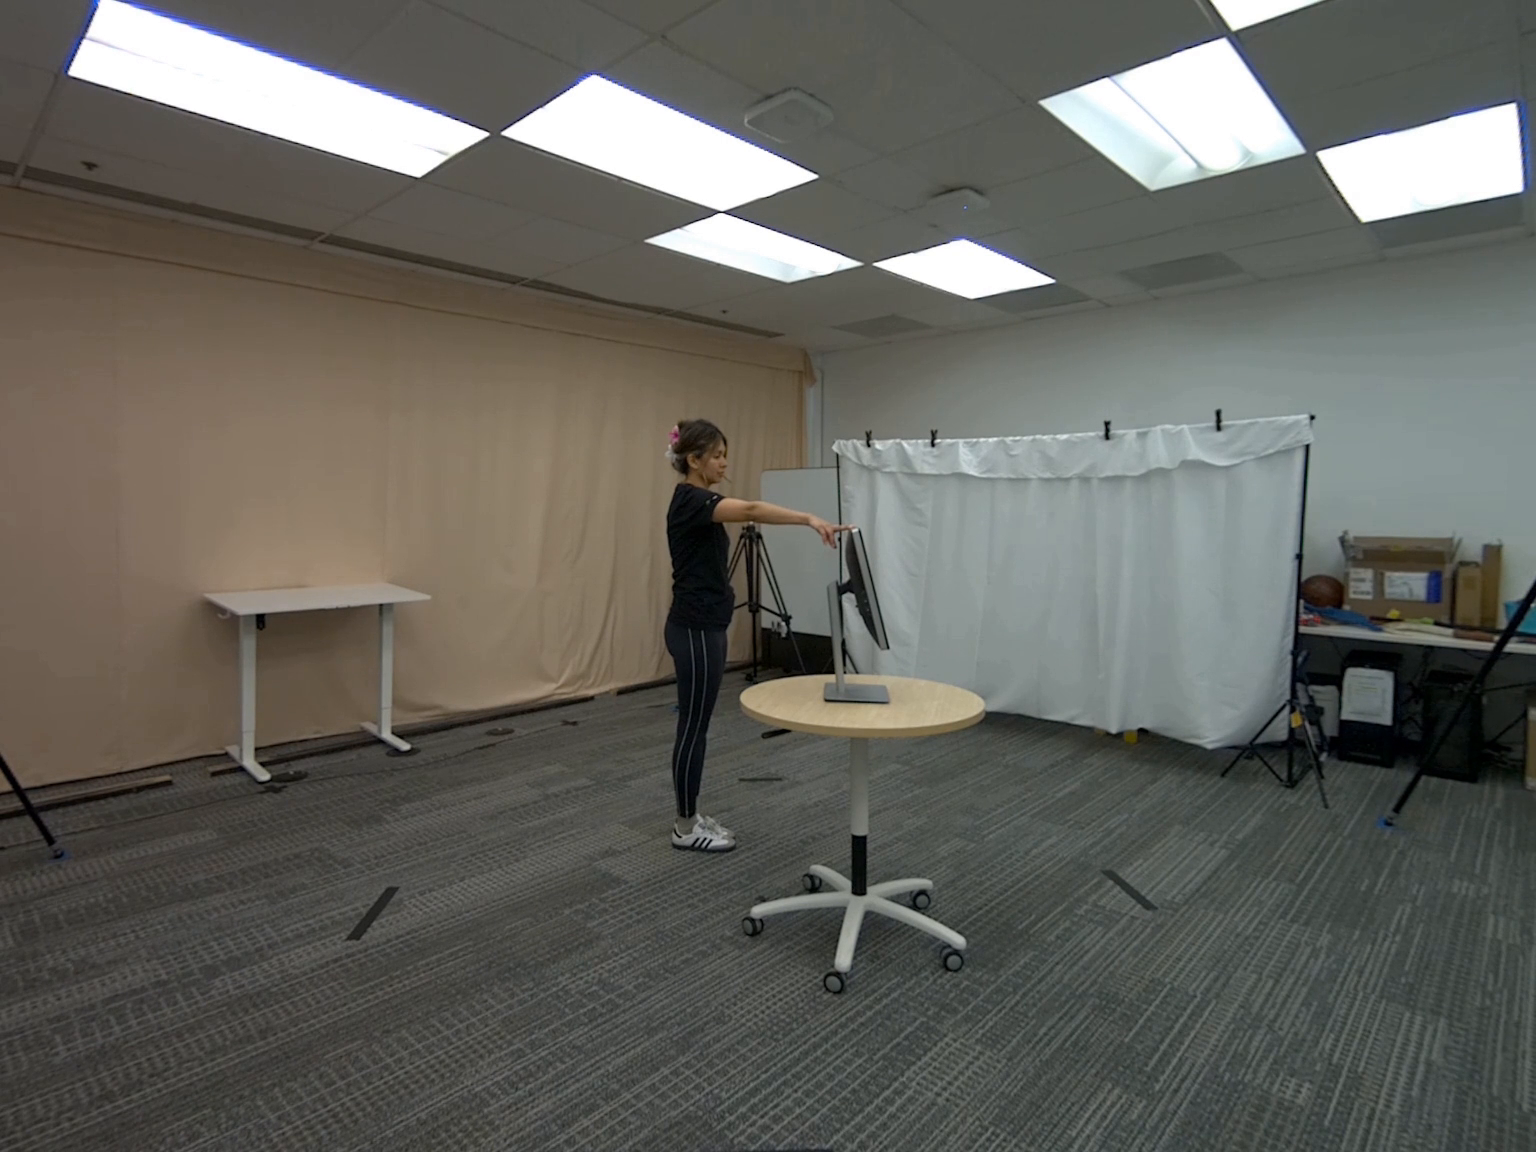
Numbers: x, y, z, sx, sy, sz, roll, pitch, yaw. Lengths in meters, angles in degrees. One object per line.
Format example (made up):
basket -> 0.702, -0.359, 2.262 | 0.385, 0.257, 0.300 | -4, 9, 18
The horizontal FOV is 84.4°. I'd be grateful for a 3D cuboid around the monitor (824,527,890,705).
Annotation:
monitor -> 0.283, 0.123, 2.723 | 0.188, 0.522, 0.537 | 0, 3, 4
